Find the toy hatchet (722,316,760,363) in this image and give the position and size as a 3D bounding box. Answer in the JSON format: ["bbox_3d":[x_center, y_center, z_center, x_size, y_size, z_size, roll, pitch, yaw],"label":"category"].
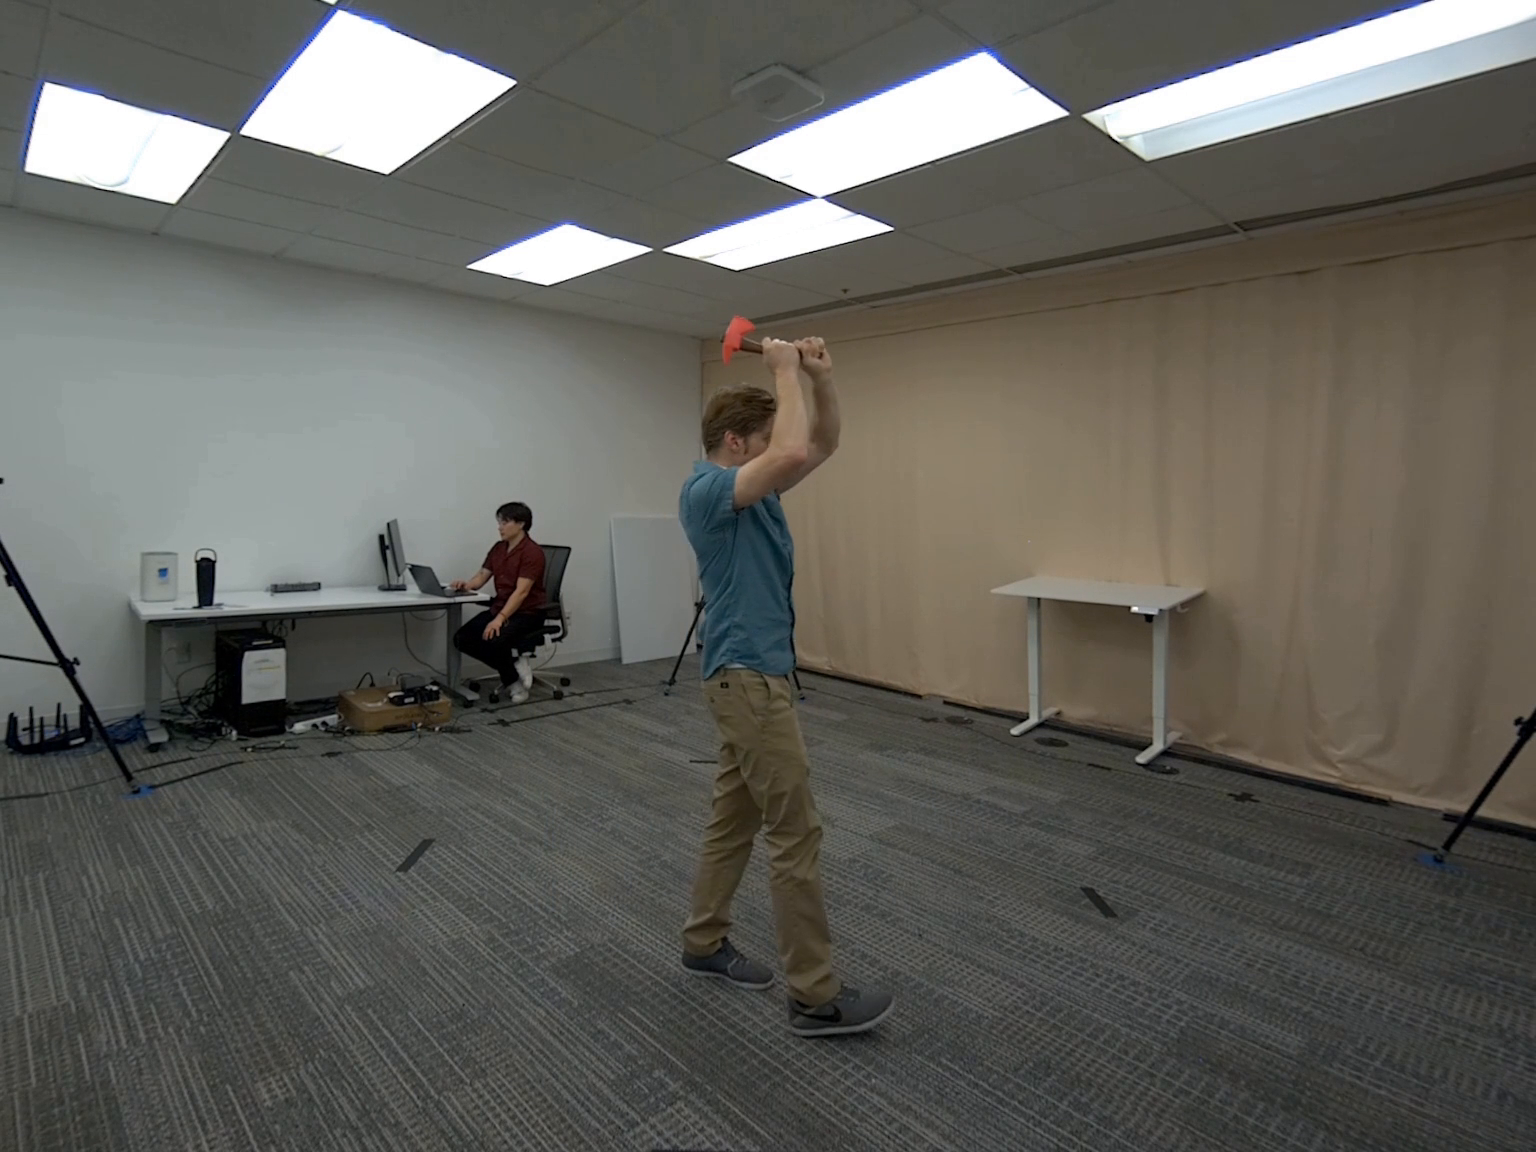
[{"bbox_3d":[0.003,-0.626,2.214,0.269,0.132,0.029,-7,-6,-4],"label":"toy hatchet"}]
